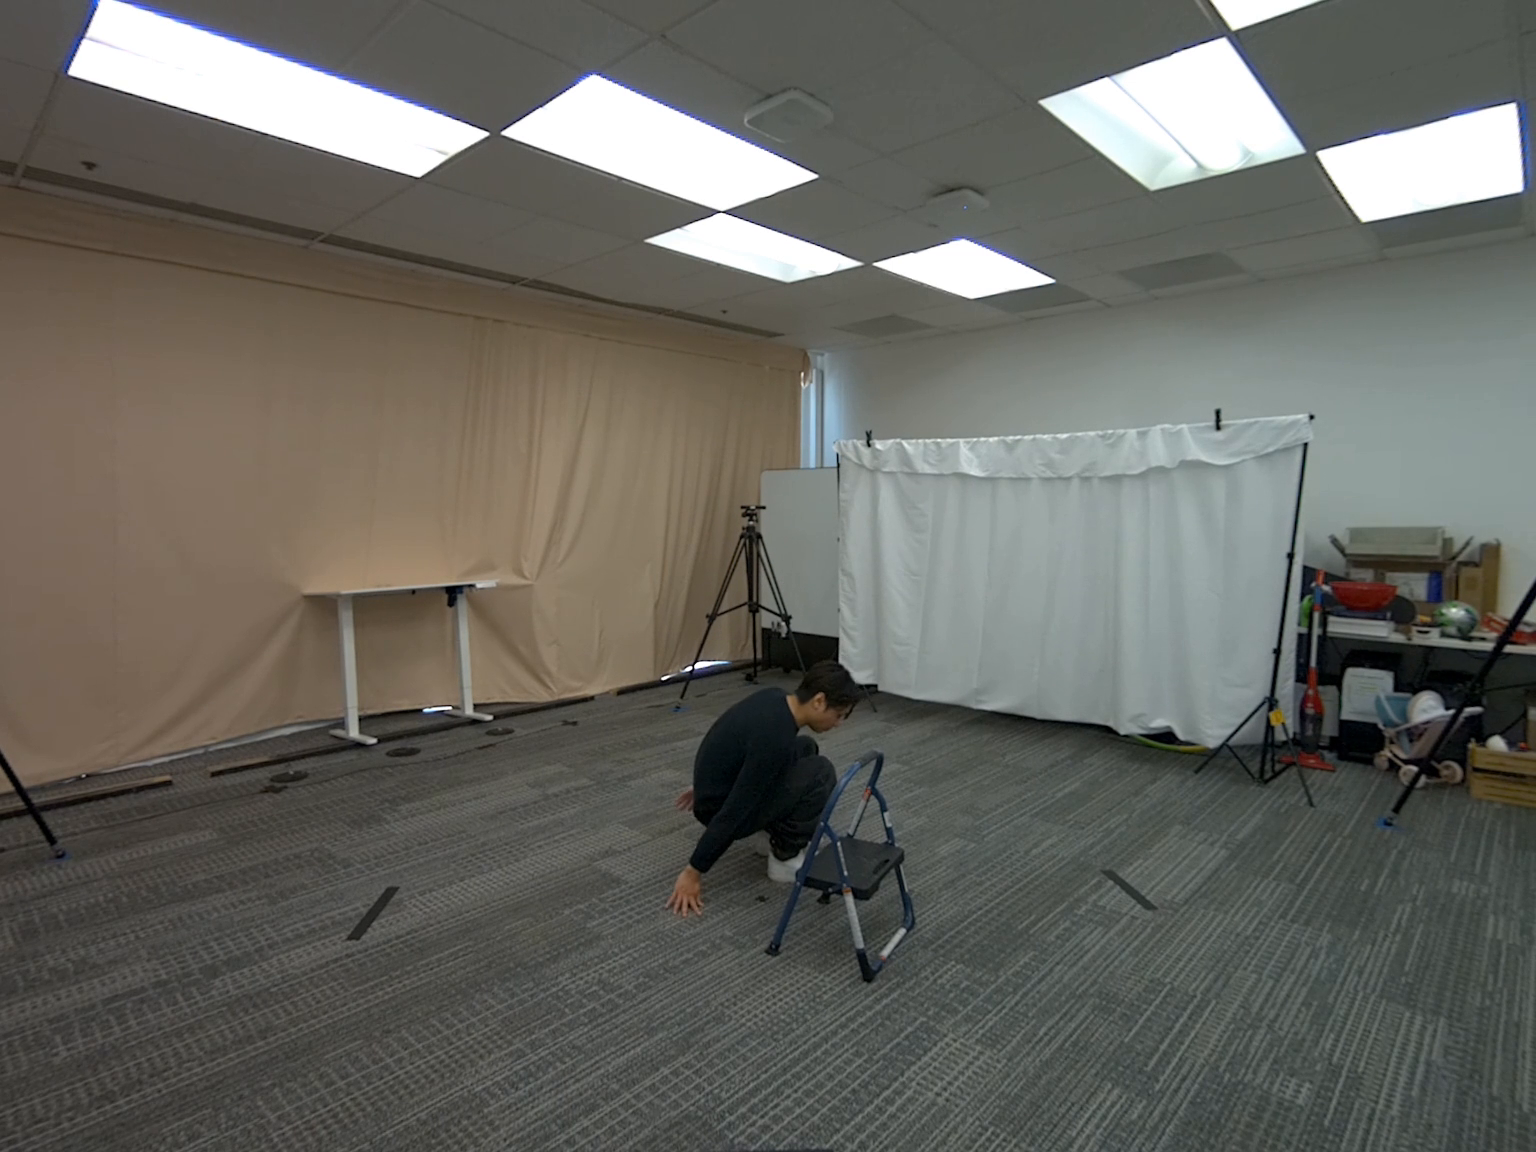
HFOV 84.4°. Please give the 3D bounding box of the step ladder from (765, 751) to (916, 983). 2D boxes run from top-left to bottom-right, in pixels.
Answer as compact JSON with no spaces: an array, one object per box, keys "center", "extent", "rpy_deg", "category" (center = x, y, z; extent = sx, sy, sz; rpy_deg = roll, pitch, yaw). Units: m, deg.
[{"center":[0.248,0.864,2.693],"extent":[0.359,0.604,0.420],"rpy_deg":[2,5,29],"category":"step ladder"}]
